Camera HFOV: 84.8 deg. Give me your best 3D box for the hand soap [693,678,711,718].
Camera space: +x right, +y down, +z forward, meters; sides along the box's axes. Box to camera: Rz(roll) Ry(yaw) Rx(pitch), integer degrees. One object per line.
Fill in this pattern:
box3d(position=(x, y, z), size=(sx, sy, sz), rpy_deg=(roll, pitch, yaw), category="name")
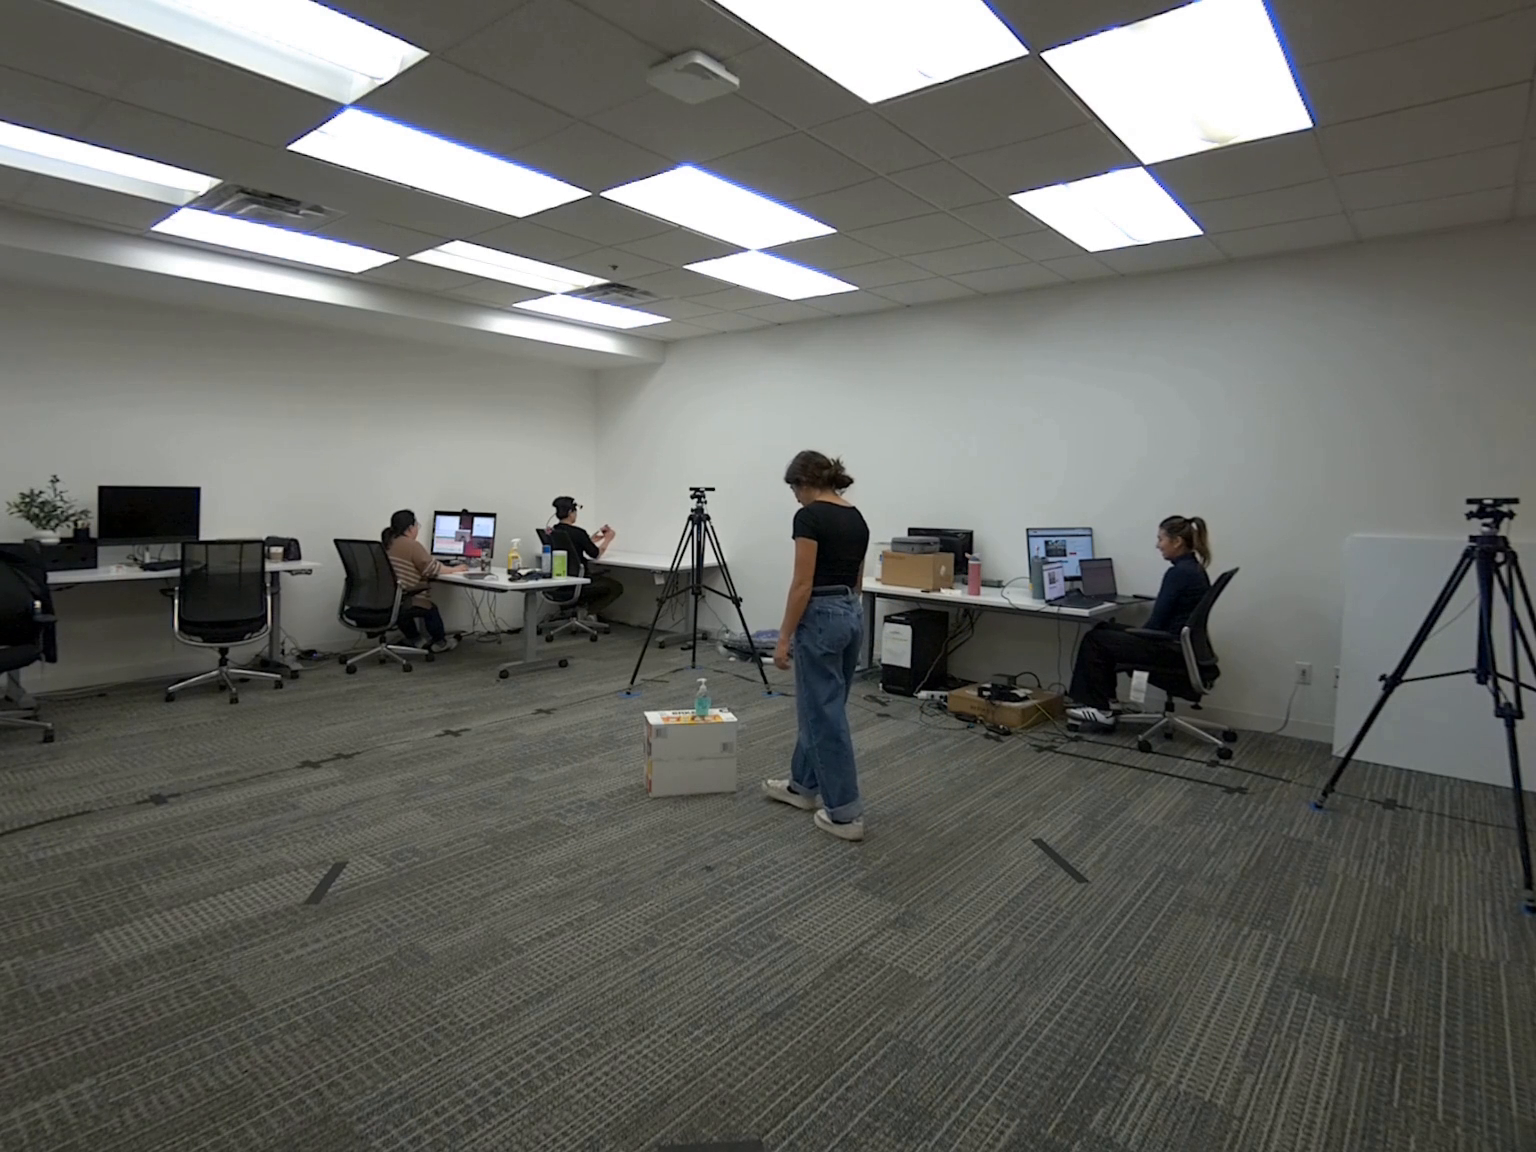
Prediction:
box3d(position=(-0.321, 0.559, 3.972), size=(0.082, 0.167, 0.045), rpy_deg=(-1, 6, -28), category="hand soap")
